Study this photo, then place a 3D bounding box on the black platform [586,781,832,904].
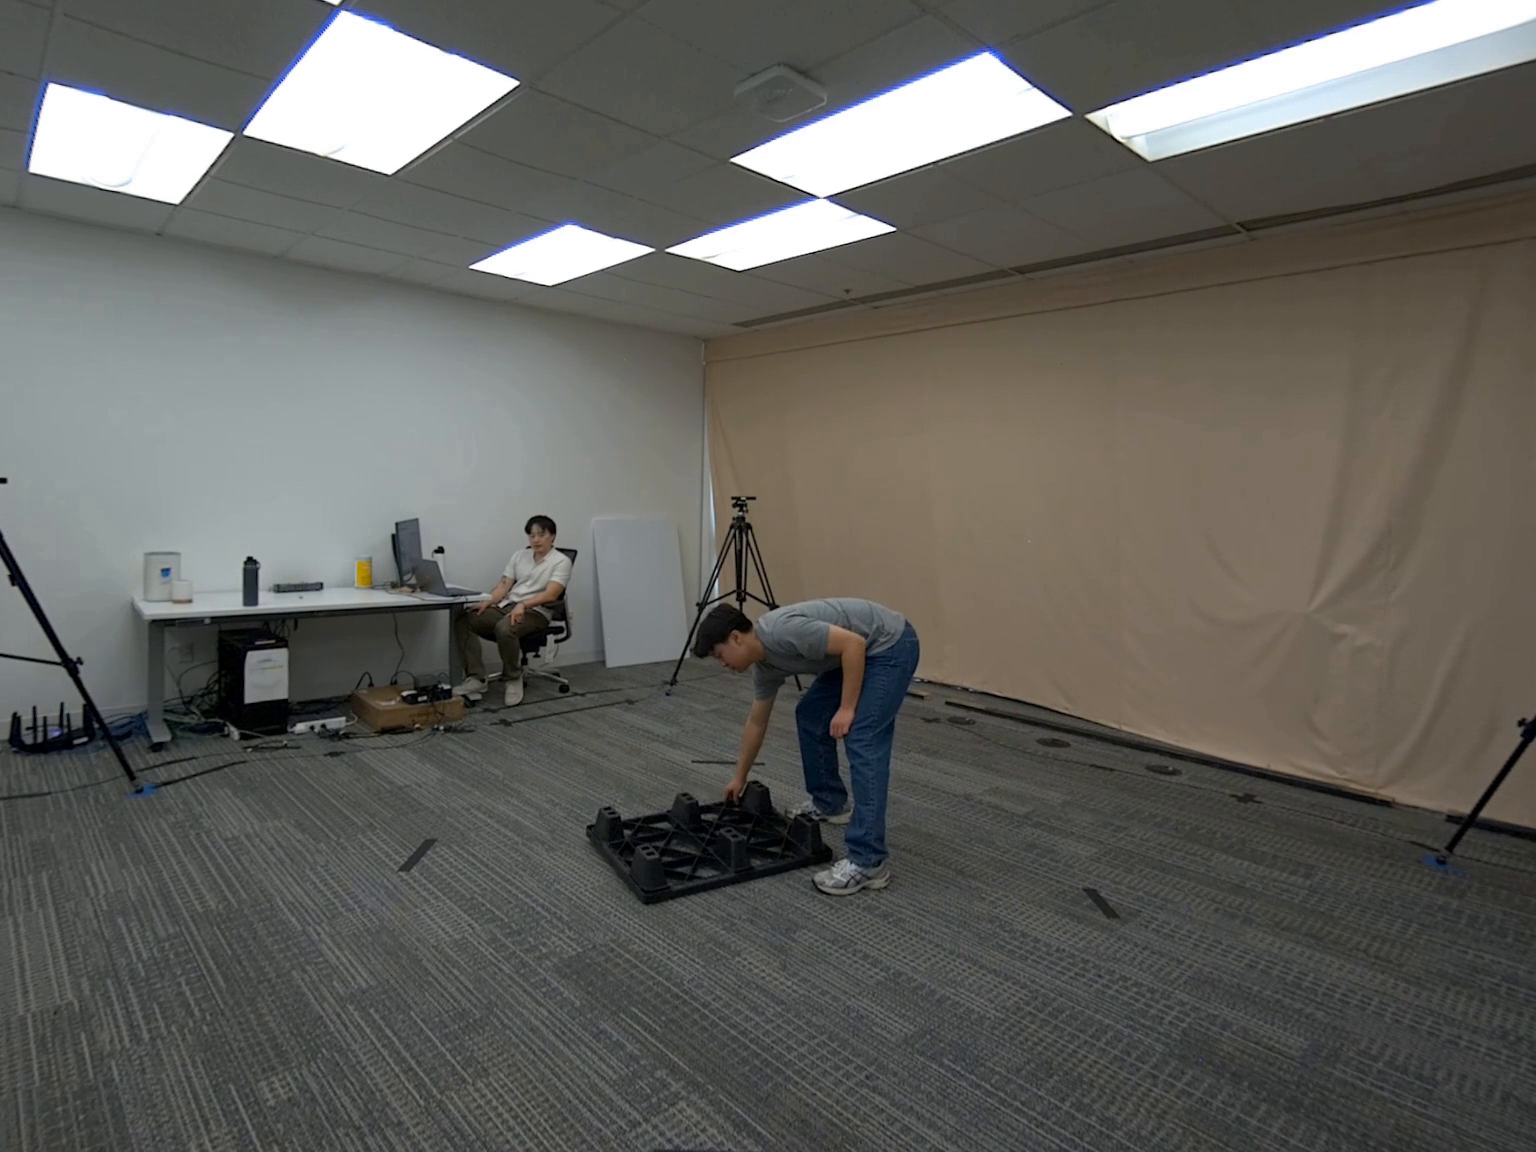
[{"bbox_3d":[-0.245,1.002,3.296,0.789,0.142,0.620,-2,9,-31],"label":"black platform"}]
